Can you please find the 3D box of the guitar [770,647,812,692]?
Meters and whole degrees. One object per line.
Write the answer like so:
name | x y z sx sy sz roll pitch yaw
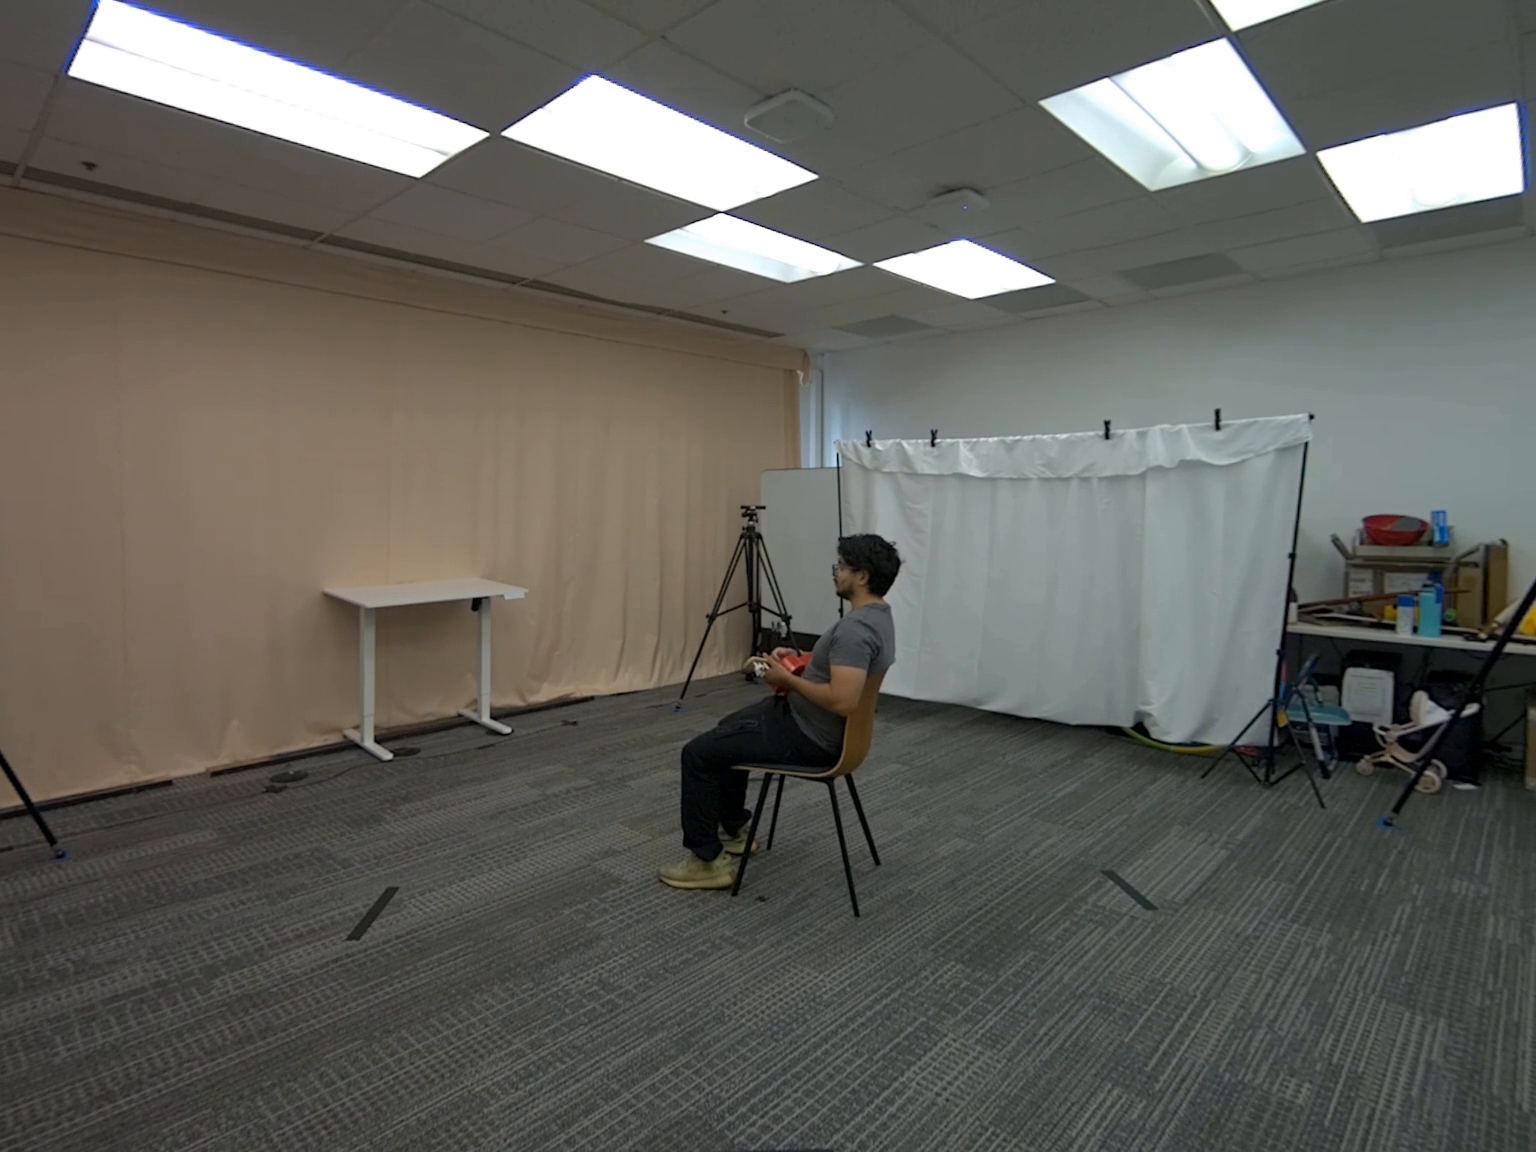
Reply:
guitar | 0.029 0.369 3.077 0.072 0.193 0.483 47 20 23
